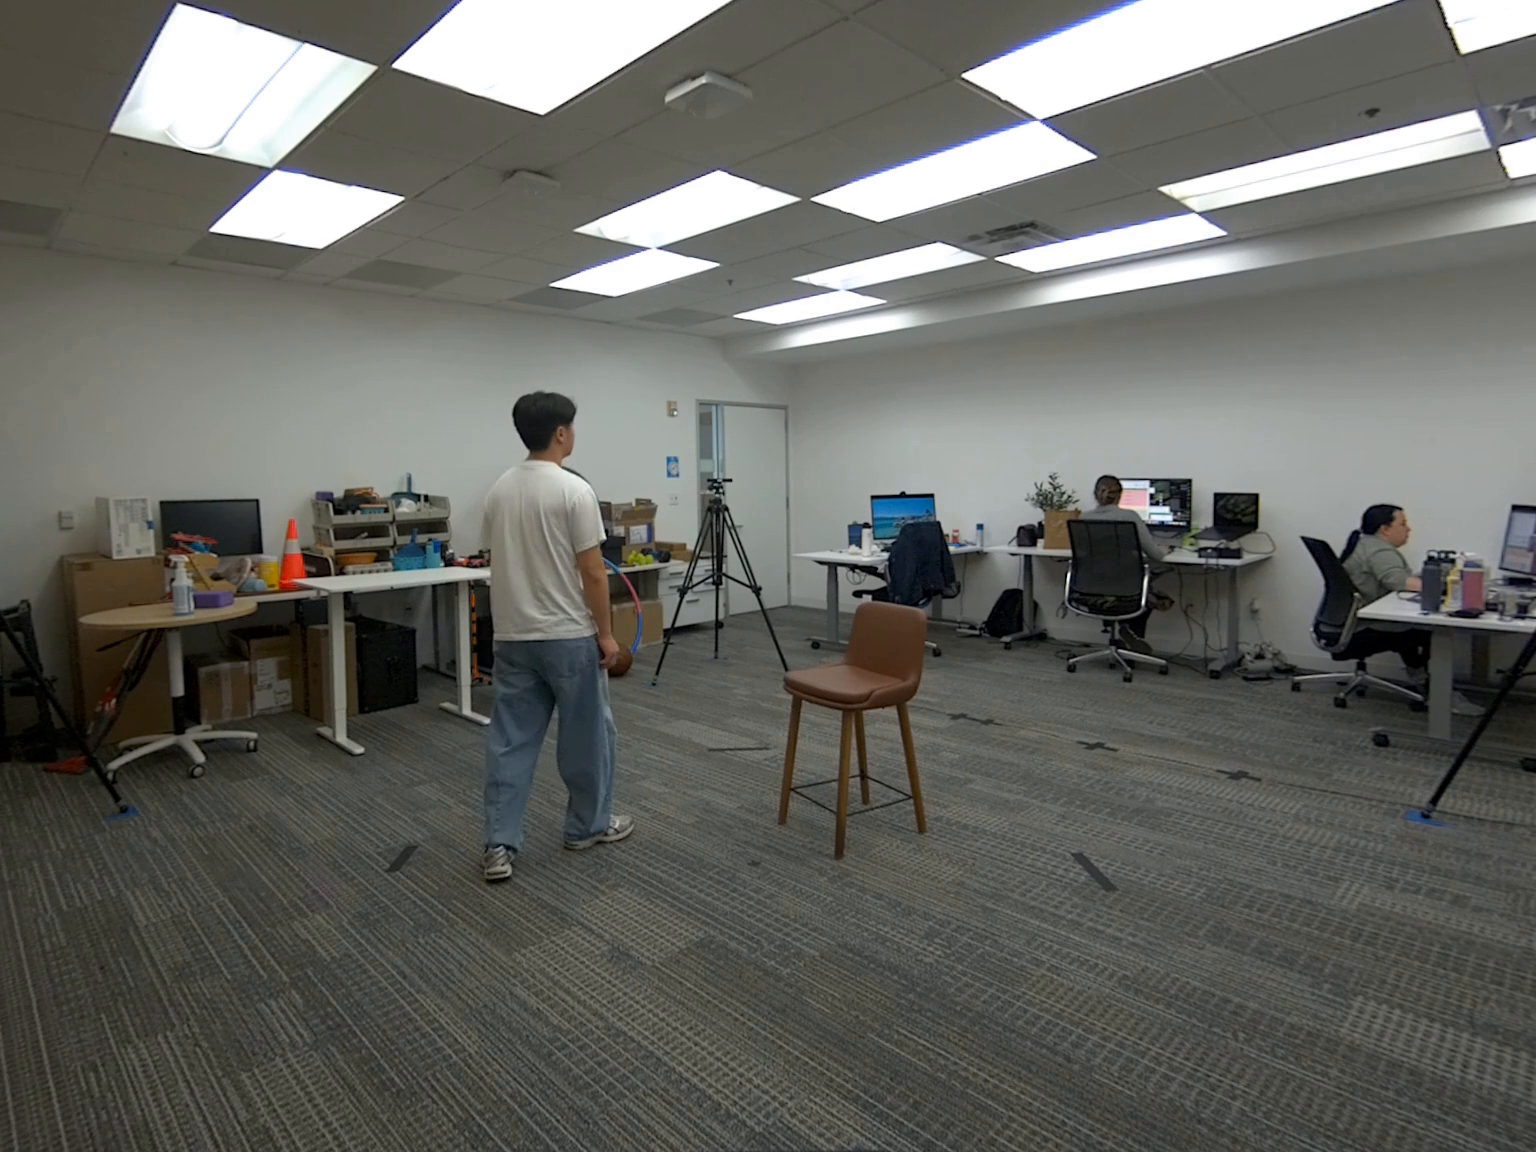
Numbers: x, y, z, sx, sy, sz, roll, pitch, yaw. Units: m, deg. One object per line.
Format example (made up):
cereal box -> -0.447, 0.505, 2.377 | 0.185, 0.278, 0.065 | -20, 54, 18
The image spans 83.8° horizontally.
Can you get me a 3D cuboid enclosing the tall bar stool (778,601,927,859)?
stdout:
tall bar stool -> 0.333, 0.568, 3.390 | 0.456, 0.887, 0.469 | -1, 4, -32
